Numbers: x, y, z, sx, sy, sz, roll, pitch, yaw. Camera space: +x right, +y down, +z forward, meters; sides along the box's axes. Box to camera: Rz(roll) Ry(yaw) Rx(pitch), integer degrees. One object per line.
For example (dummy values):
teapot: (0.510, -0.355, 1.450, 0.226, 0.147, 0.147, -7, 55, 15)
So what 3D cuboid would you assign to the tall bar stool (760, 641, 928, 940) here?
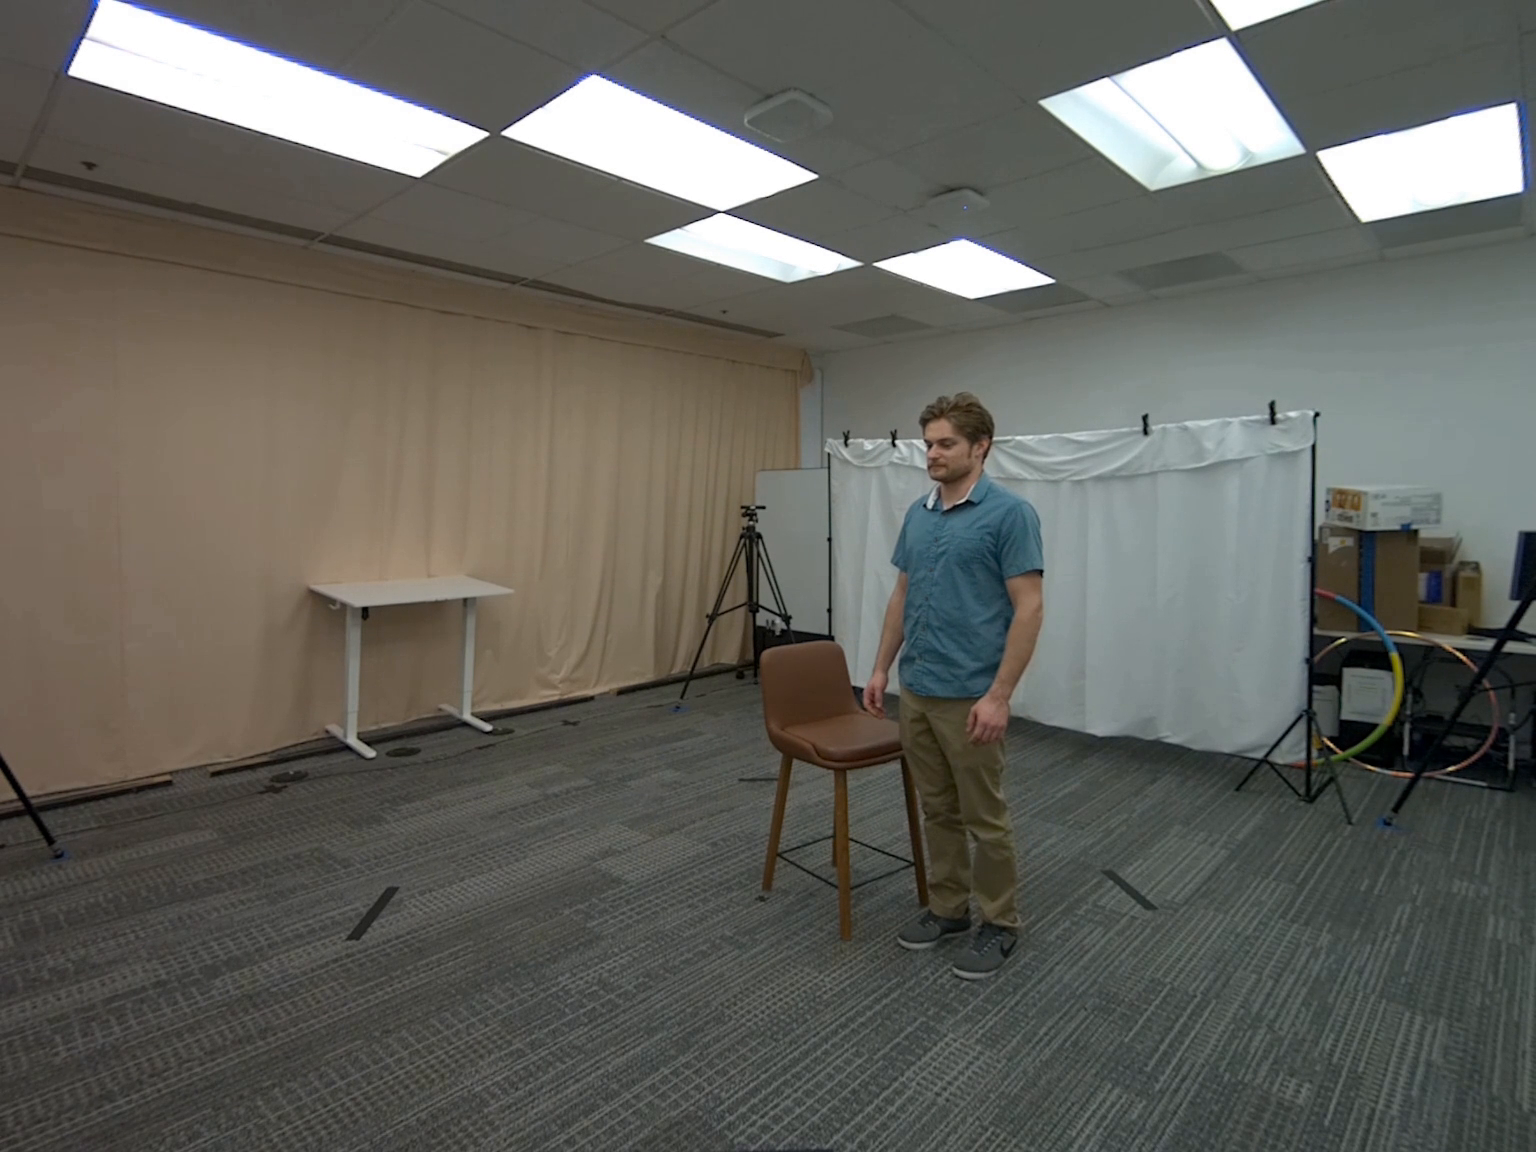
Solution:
tall bar stool: (0.257, 0.709, 2.969, 0.443, 0.888, 0.482, -3, 3, -37)
